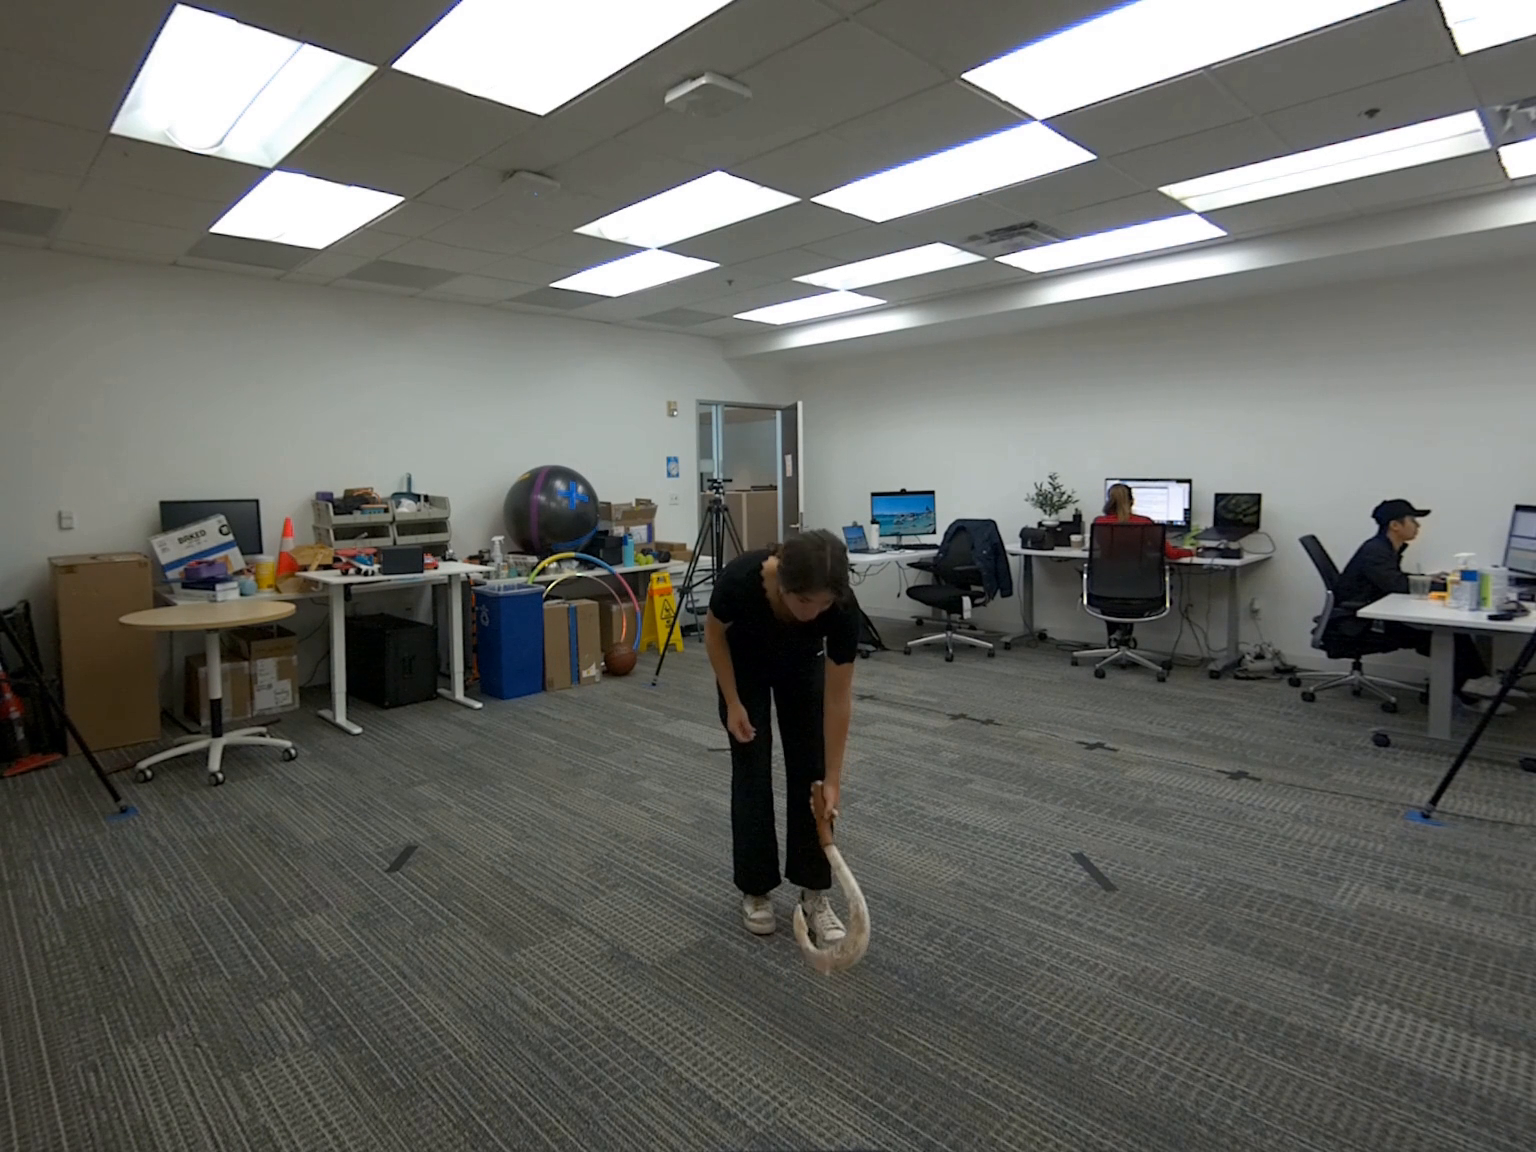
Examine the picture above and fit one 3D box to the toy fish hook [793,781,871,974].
[{"bbox_3d":[0.145,0.814,2.329,0.226,0.523,0.046,-30,-47,16],"label":"toy fish hook"}]
